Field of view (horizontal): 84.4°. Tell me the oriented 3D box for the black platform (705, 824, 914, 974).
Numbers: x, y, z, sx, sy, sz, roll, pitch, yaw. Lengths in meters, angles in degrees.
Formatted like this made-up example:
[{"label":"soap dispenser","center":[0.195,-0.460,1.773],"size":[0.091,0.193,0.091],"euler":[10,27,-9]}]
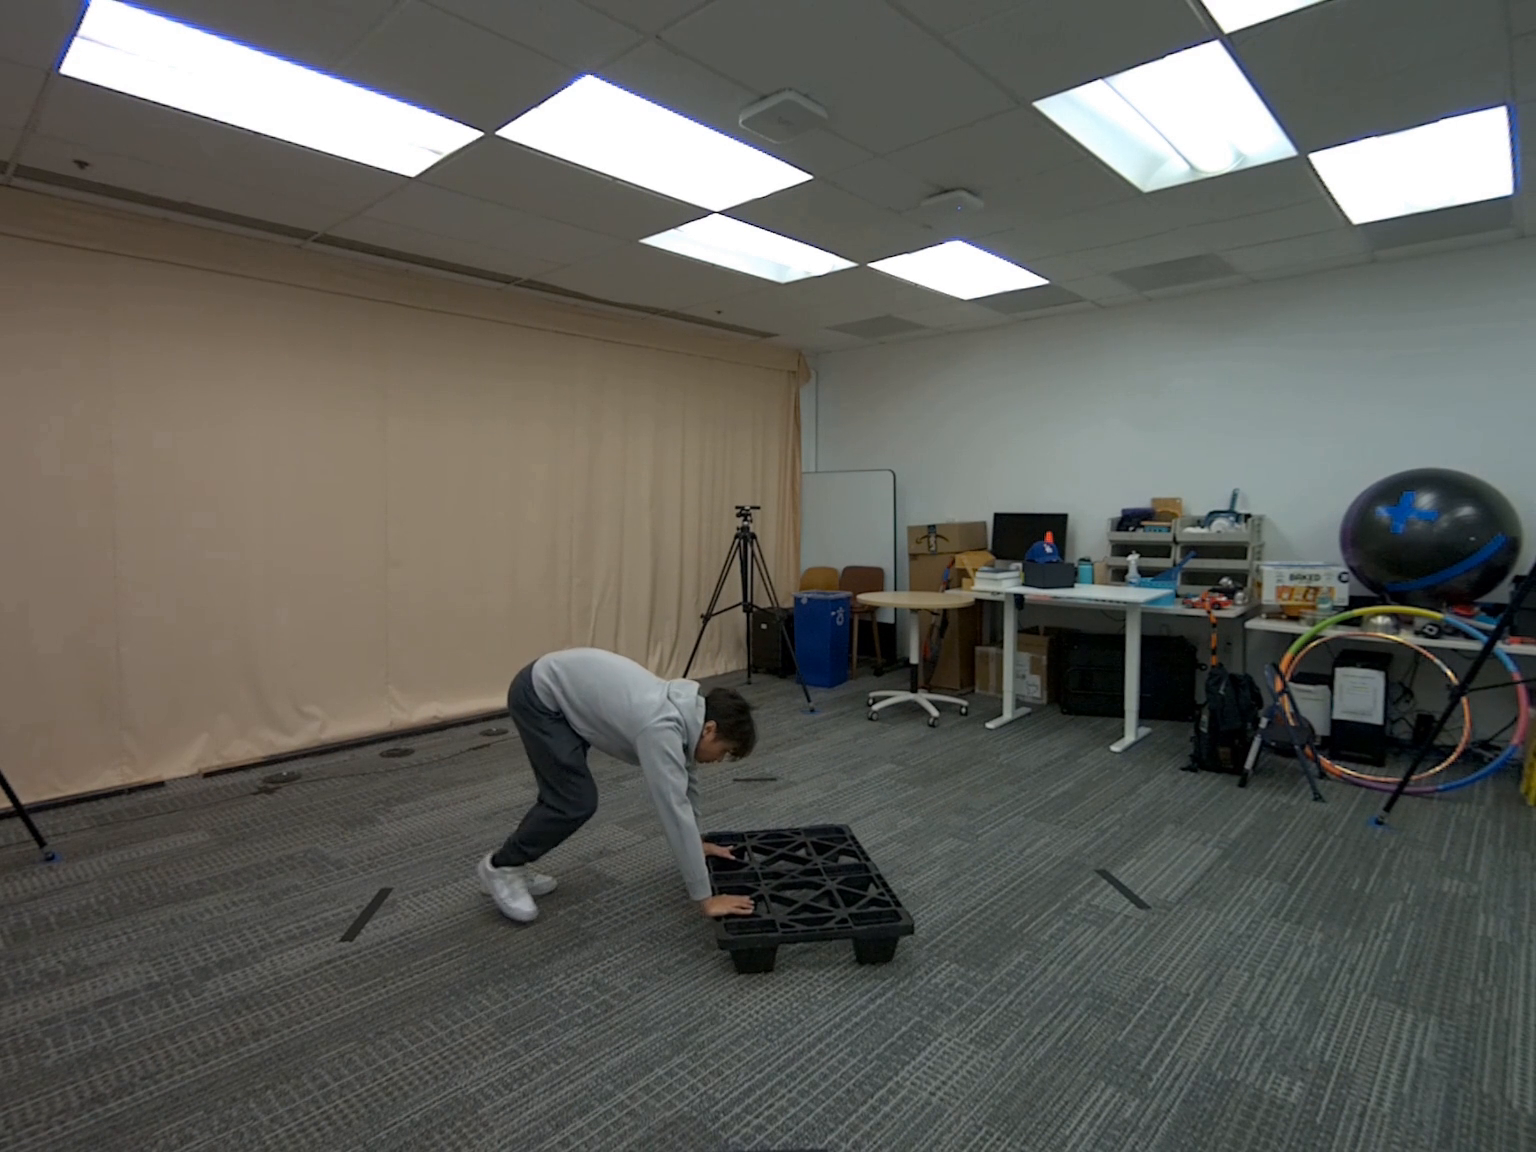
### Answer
[{"label":"black platform","center":[0.087,1.080,2.888],"size":[0.600,0.143,0.815],"euler":[-1,5,-9]}]
